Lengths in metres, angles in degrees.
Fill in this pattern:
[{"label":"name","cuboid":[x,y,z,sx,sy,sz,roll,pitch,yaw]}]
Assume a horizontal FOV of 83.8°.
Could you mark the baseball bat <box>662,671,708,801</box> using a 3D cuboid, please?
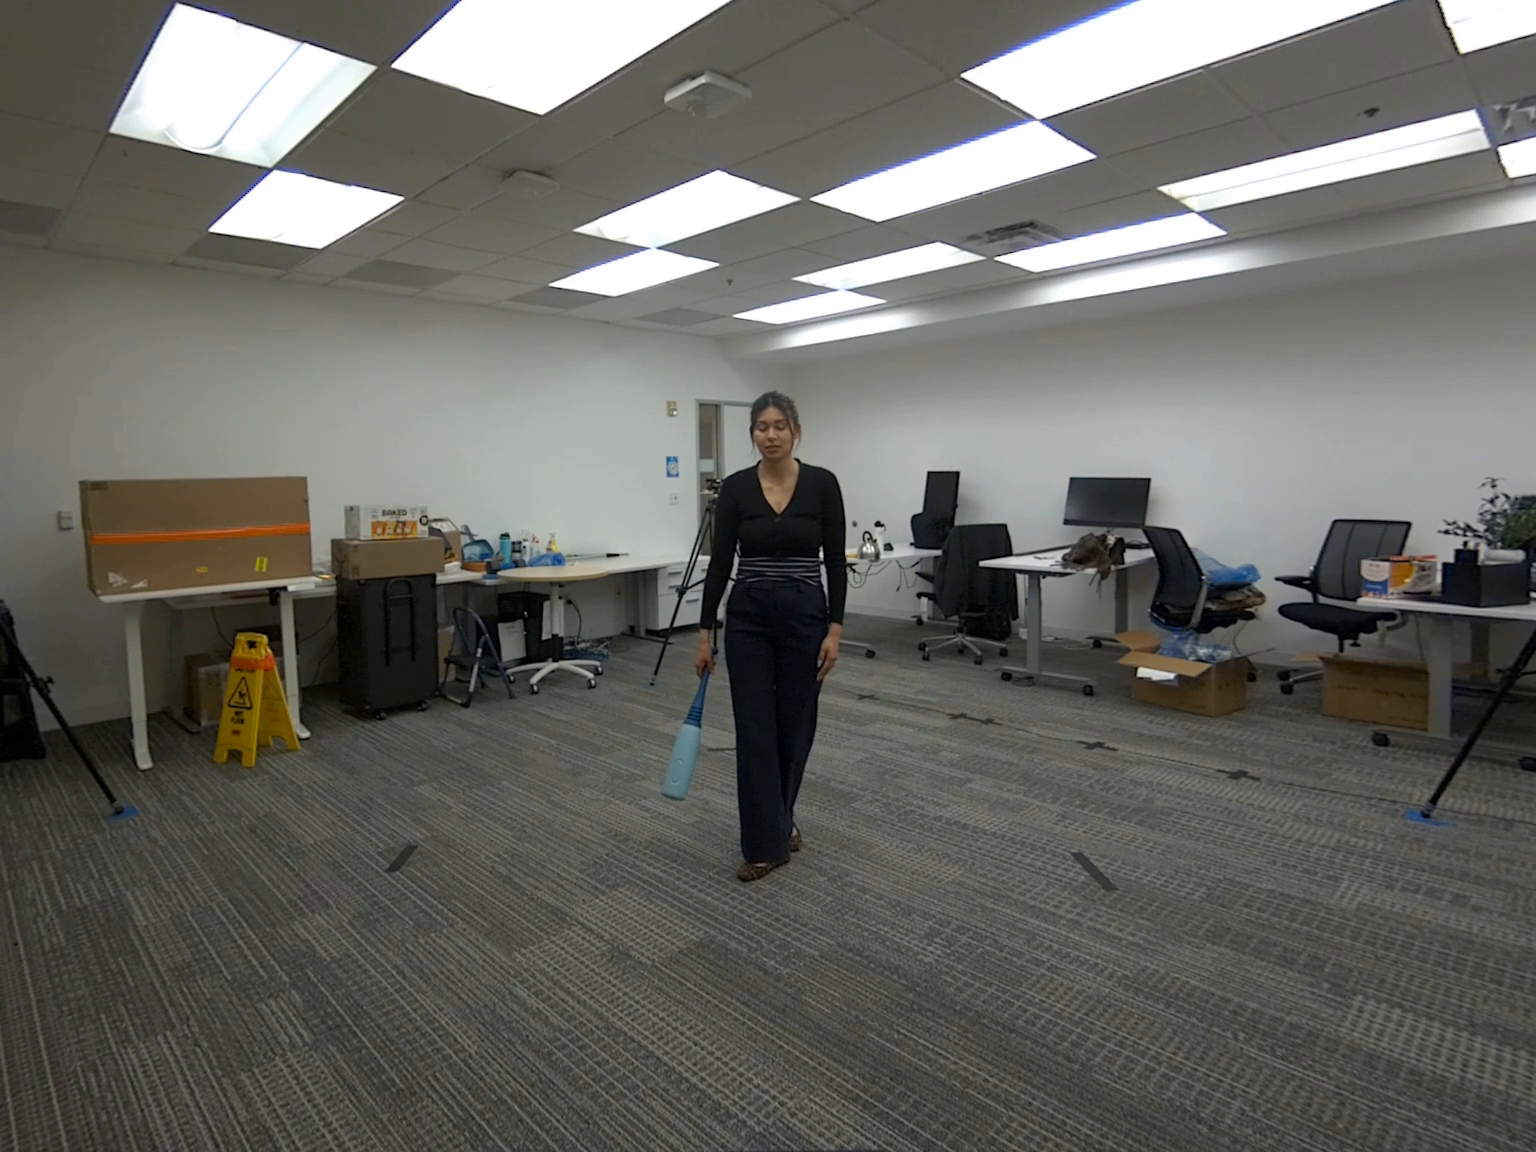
[{"label":"baseball bat","cuboid":[-0.253,0.512,2.986,0.089,0.549,0.087,14,-21,3]}]
